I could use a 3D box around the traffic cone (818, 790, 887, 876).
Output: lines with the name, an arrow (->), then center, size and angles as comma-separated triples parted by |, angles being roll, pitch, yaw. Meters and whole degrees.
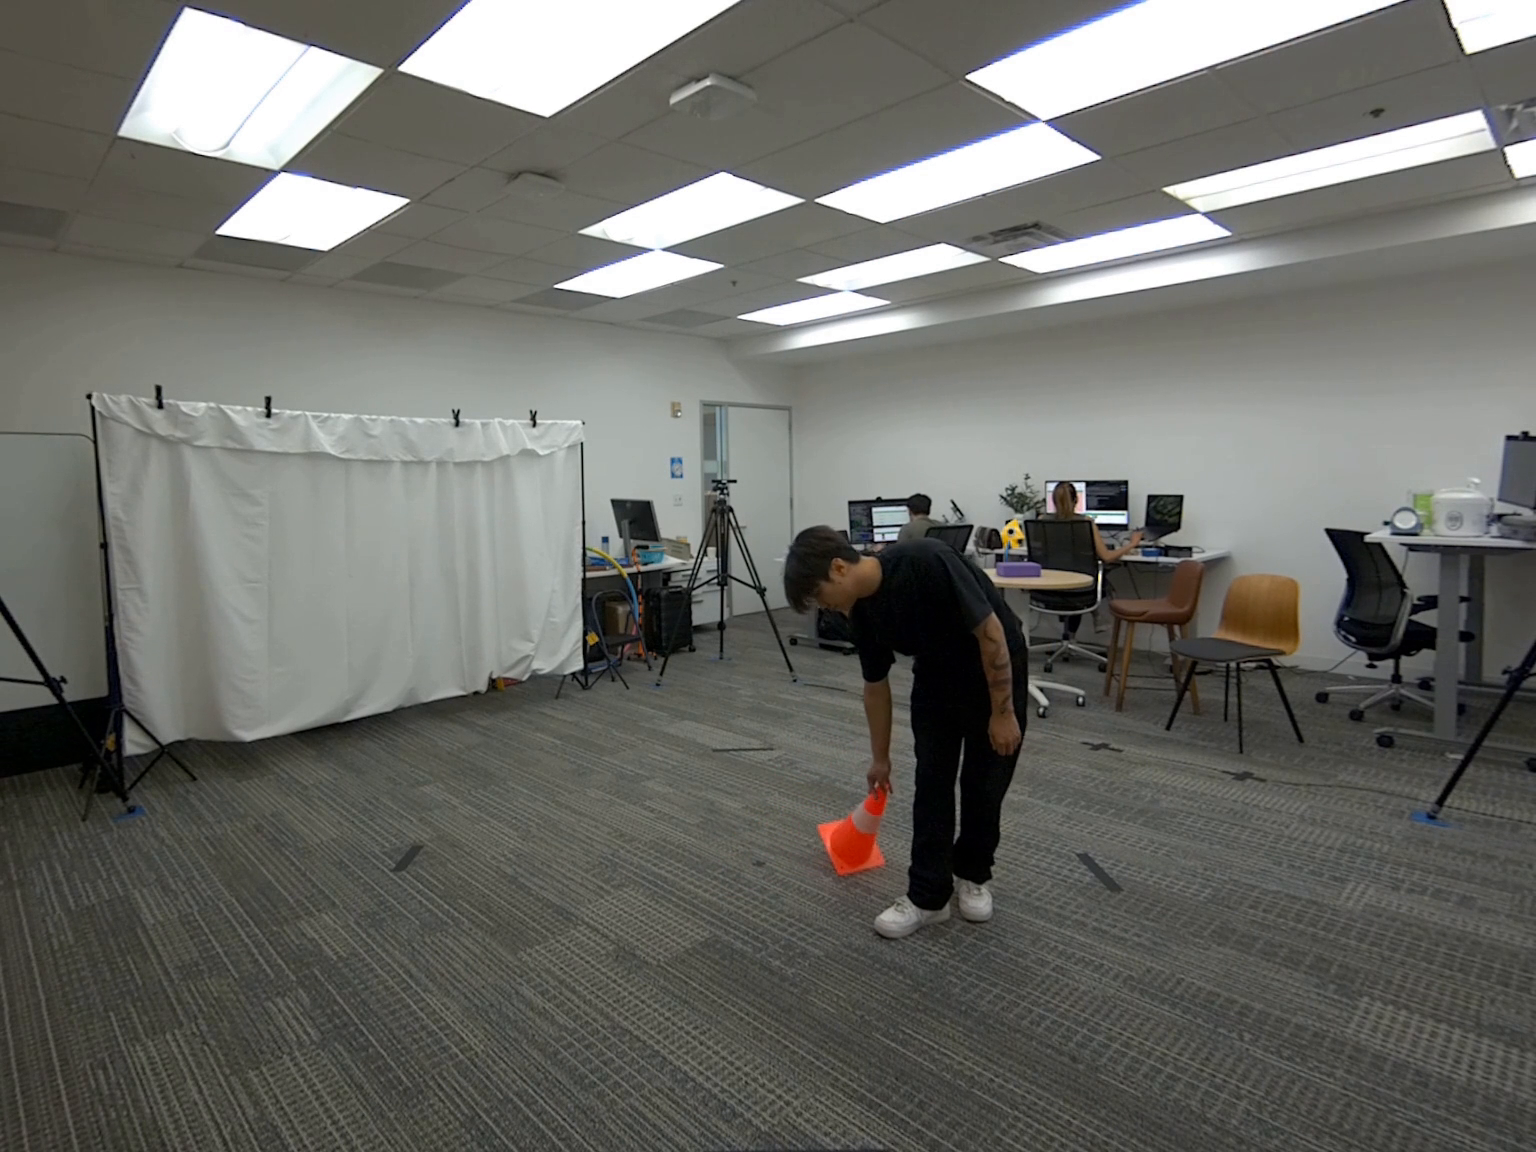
traffic cone -> 0.354, 0.846, 2.998 | 0.199, 0.377, 0.213 | -5, 43, -25
